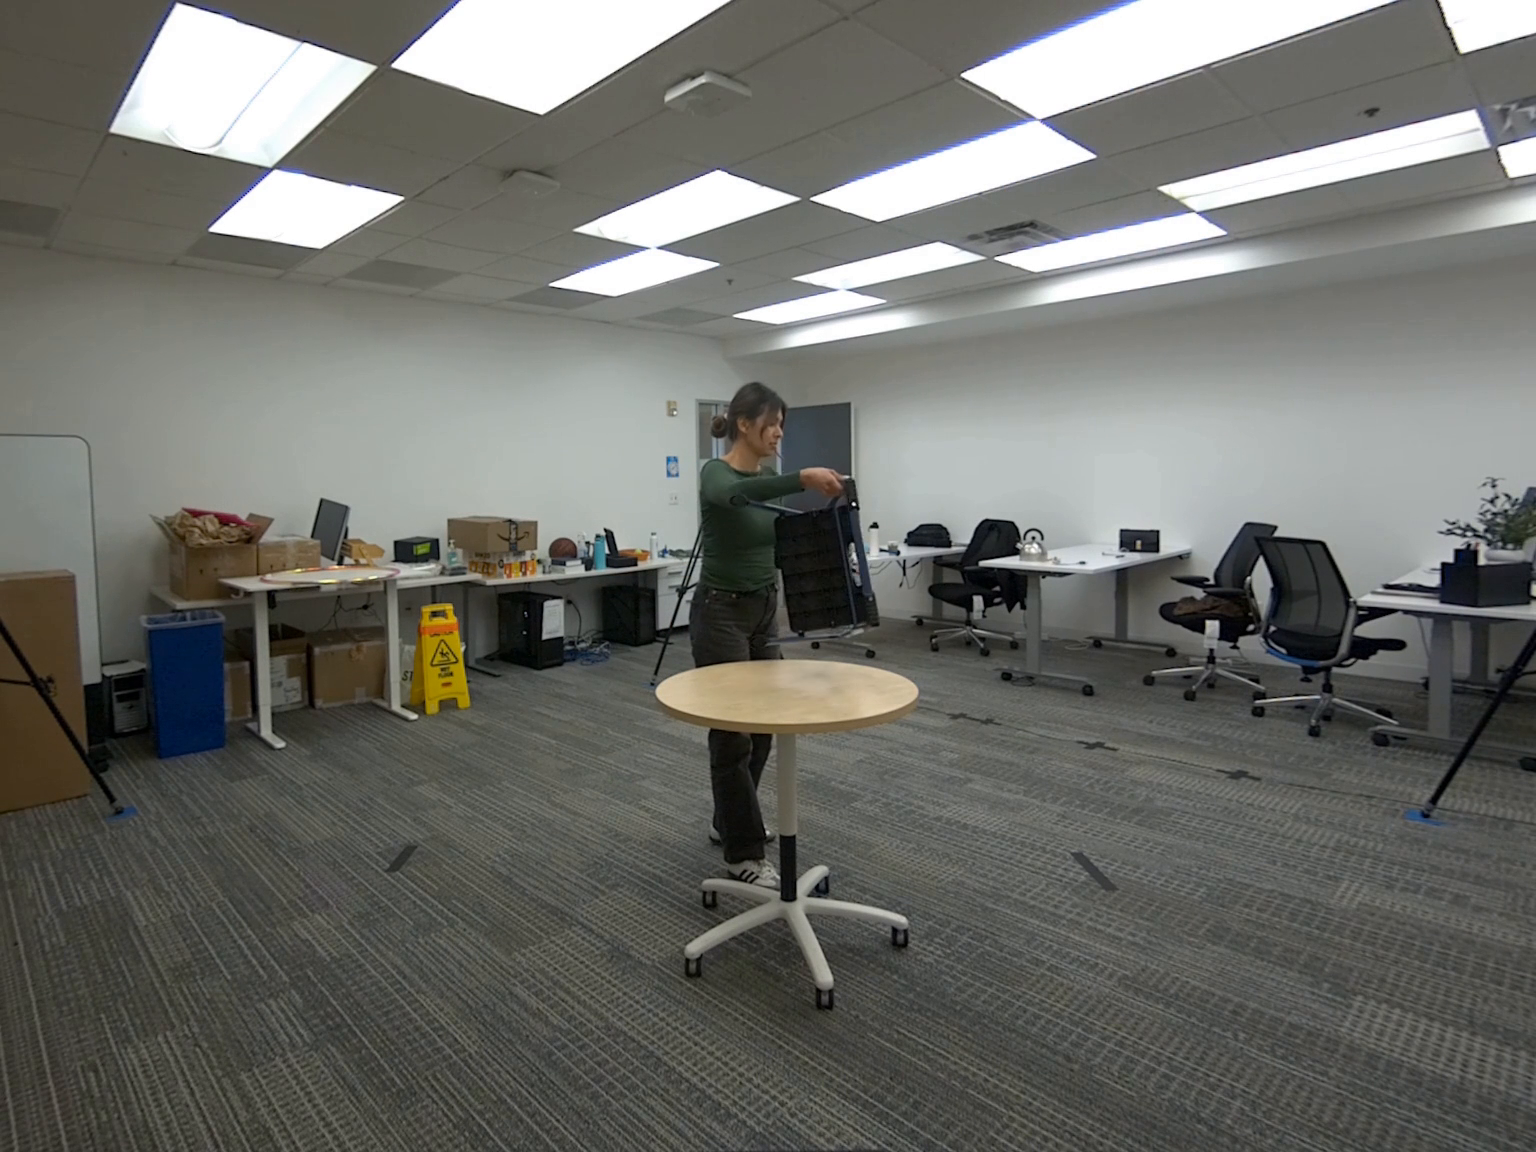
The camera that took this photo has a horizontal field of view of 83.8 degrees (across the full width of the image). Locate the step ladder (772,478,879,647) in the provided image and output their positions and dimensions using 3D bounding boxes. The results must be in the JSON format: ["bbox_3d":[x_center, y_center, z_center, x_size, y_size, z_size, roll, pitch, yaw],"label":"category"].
[{"bbox_3d":[0.154,-0.007,2.608,0.352,0.434,0.595,-8,-8,10],"label":"step ladder"}]
